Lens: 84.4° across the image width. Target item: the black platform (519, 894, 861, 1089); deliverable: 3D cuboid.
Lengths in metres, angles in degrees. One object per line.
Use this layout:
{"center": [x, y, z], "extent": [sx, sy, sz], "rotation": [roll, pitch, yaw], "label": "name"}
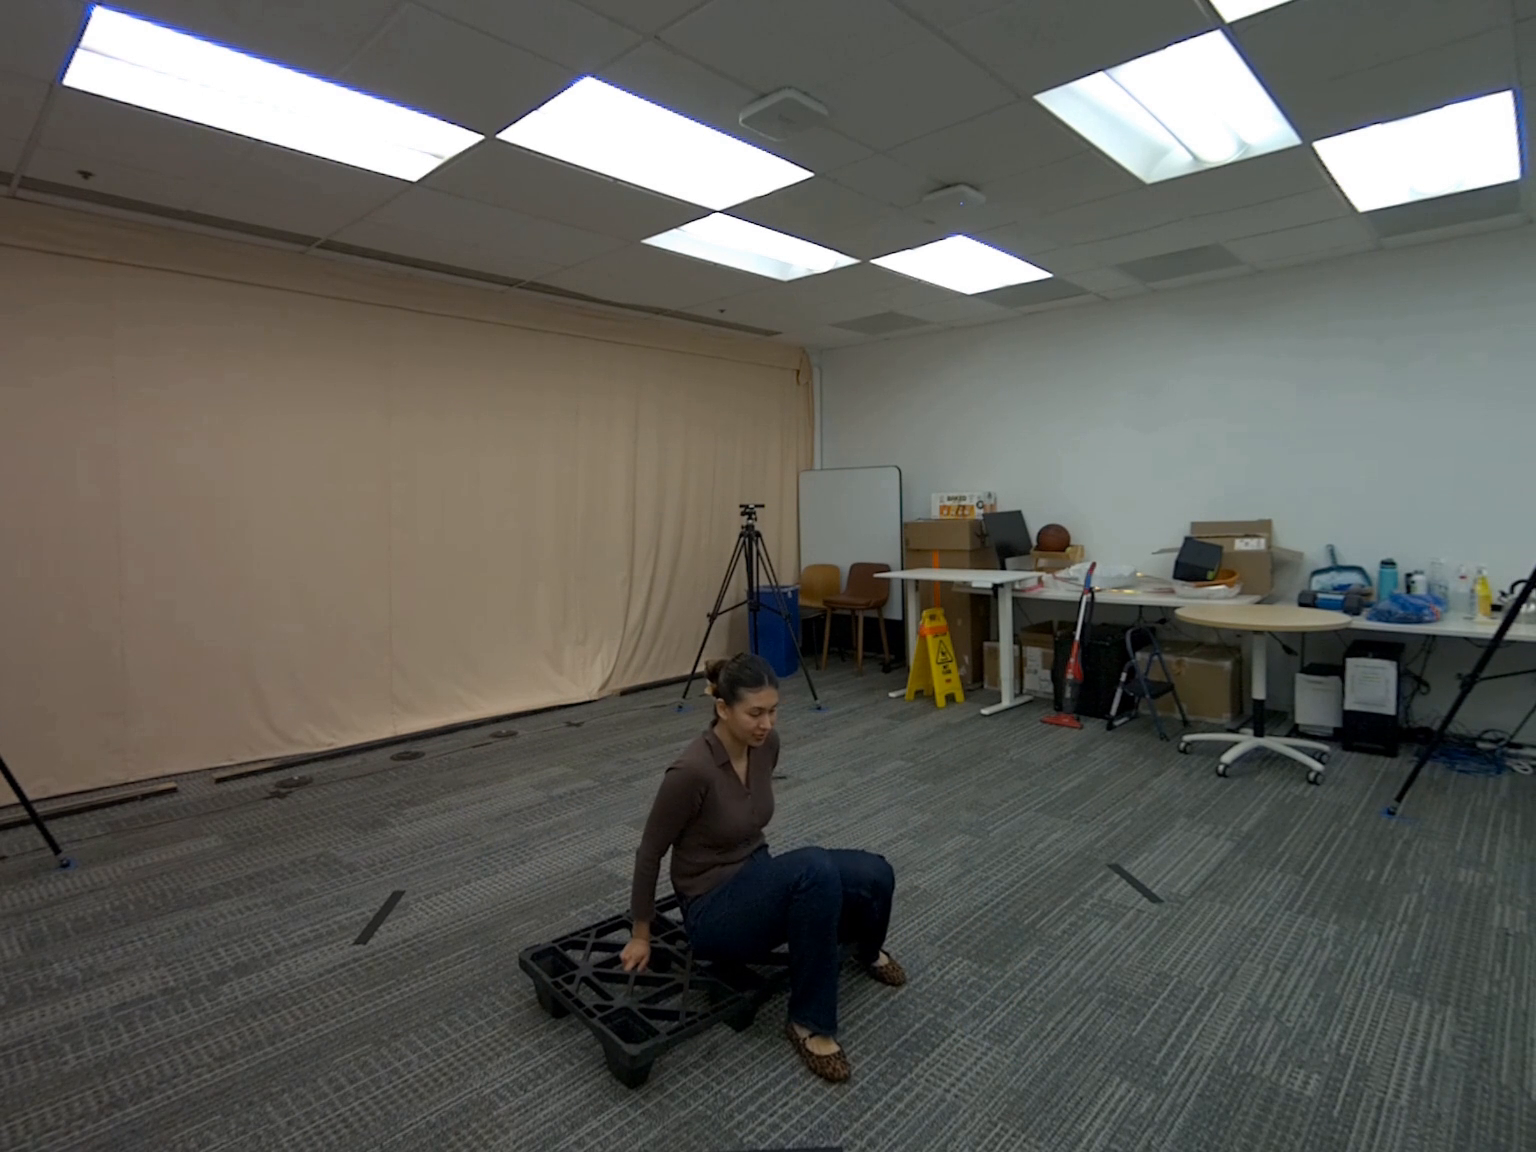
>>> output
{"center": [-0.224, 1.130, 2.418], "extent": [0.781, 0.143, 0.625], "rotation": [-4, 5, -40], "label": "black platform"}
